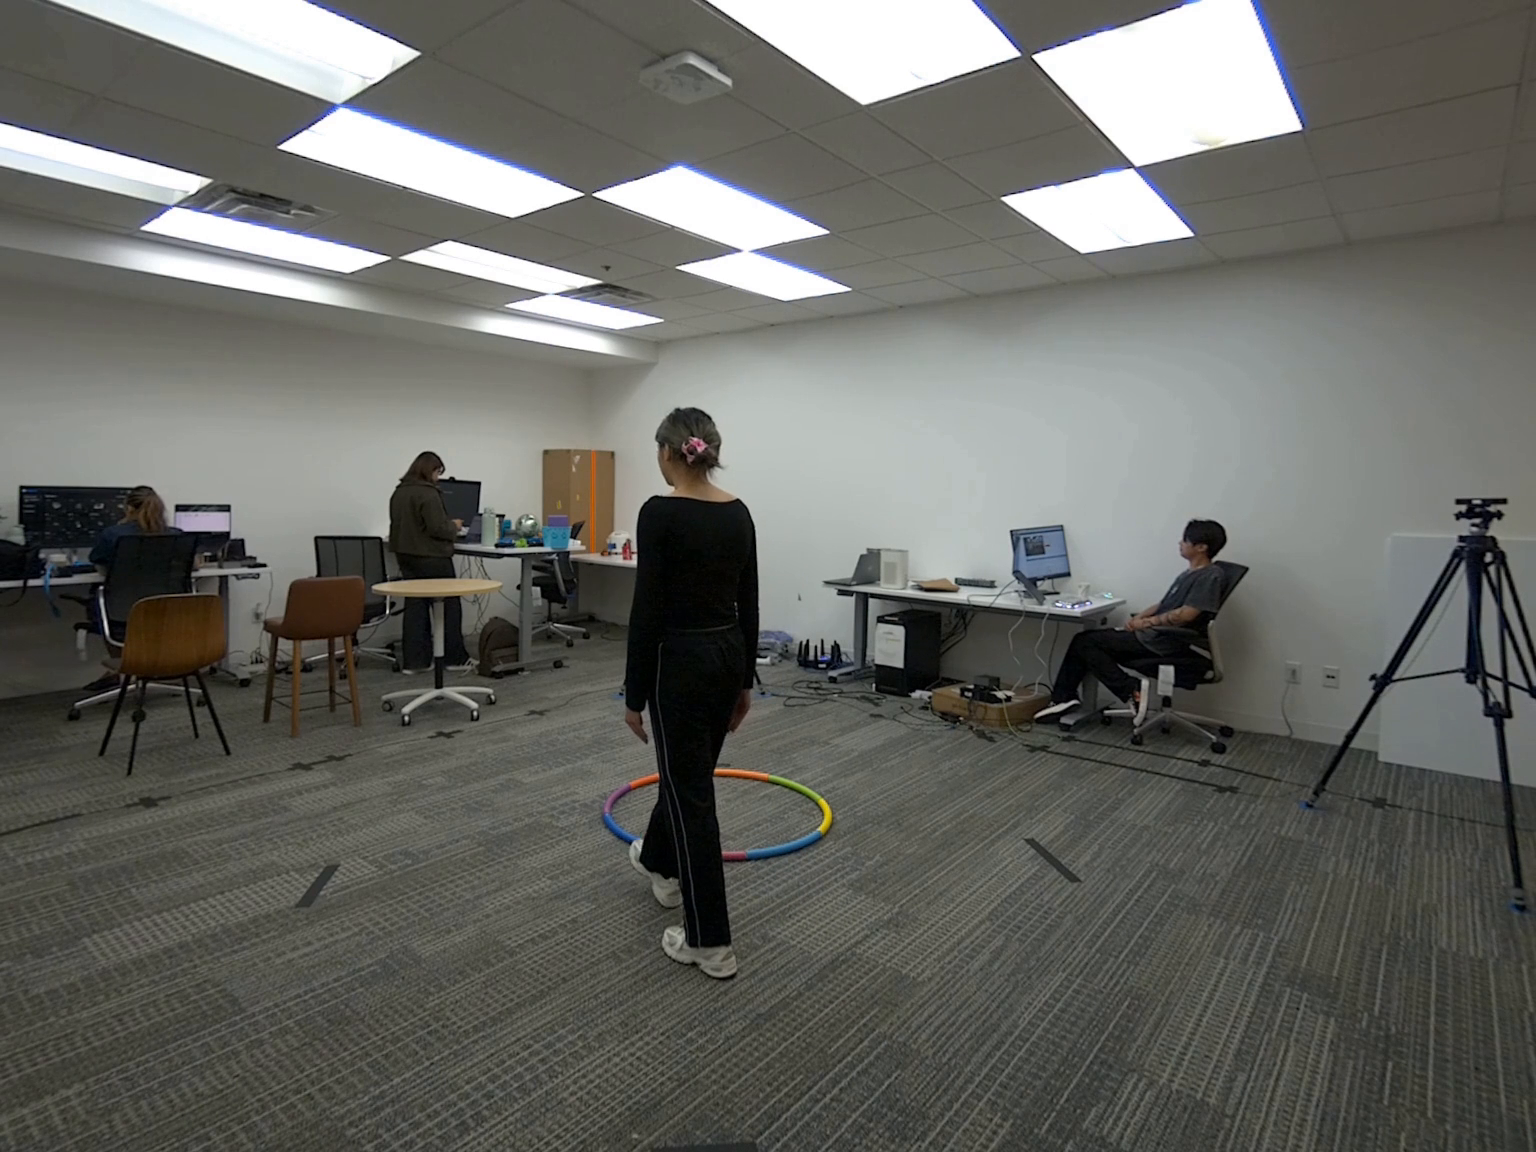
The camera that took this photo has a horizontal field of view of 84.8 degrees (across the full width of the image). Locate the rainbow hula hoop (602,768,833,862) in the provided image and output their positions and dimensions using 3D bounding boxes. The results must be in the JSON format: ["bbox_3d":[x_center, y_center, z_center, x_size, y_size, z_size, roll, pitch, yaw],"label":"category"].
[{"bbox_3d":[-0.229,0.986,3.653,0.978,0.035,0.984,1,6,-2],"label":"rainbow hula hoop"}]
